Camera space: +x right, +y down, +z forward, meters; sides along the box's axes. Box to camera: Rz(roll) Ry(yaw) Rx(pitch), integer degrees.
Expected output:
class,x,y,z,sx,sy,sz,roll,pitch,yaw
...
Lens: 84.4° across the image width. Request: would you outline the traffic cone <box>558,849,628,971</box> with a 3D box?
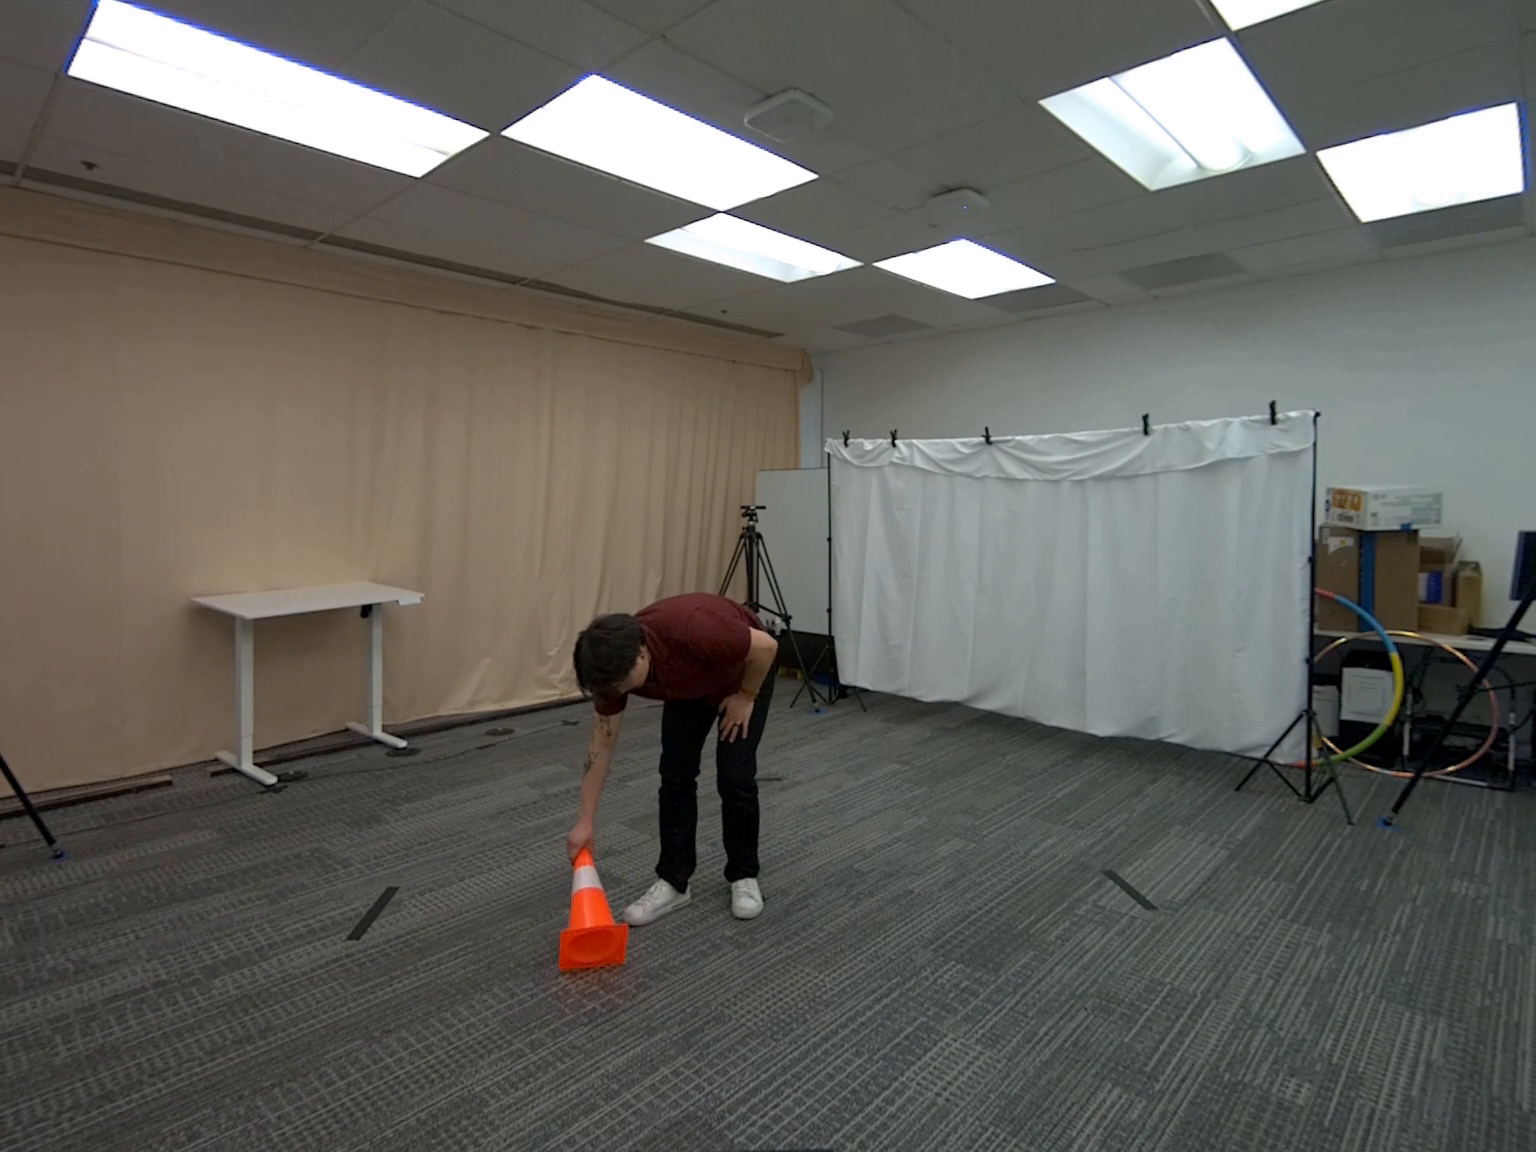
class,x,y,z,sx,sy,sz,roll,pitch,yaw
traffic cone,-0.569,1.000,2.643,0.202,0.200,0.395,-6,34,-15
